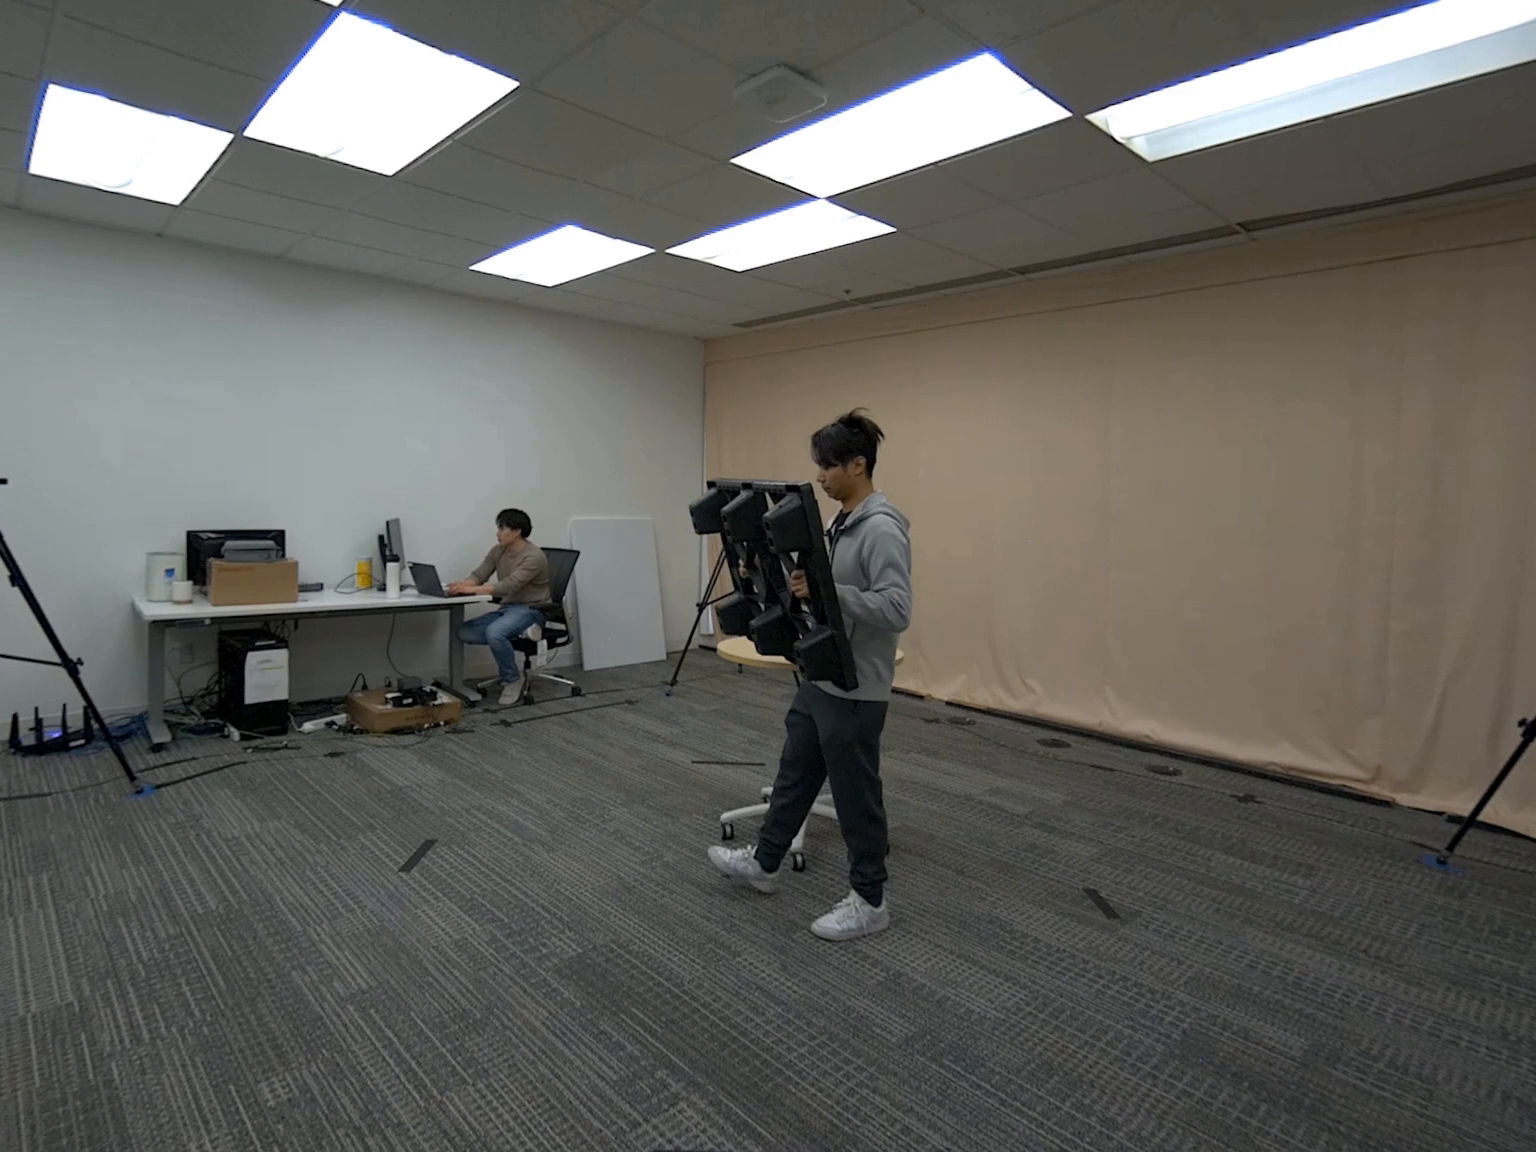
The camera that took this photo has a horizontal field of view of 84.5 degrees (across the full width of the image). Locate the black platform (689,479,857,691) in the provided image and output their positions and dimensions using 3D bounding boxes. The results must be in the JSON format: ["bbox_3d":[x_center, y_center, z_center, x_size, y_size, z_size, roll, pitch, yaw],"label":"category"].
[{"bbox_3d":[-0.033,0.009,2.639,0.142,0.600,0.821,-16,11,-19],"label":"black platform"}]
